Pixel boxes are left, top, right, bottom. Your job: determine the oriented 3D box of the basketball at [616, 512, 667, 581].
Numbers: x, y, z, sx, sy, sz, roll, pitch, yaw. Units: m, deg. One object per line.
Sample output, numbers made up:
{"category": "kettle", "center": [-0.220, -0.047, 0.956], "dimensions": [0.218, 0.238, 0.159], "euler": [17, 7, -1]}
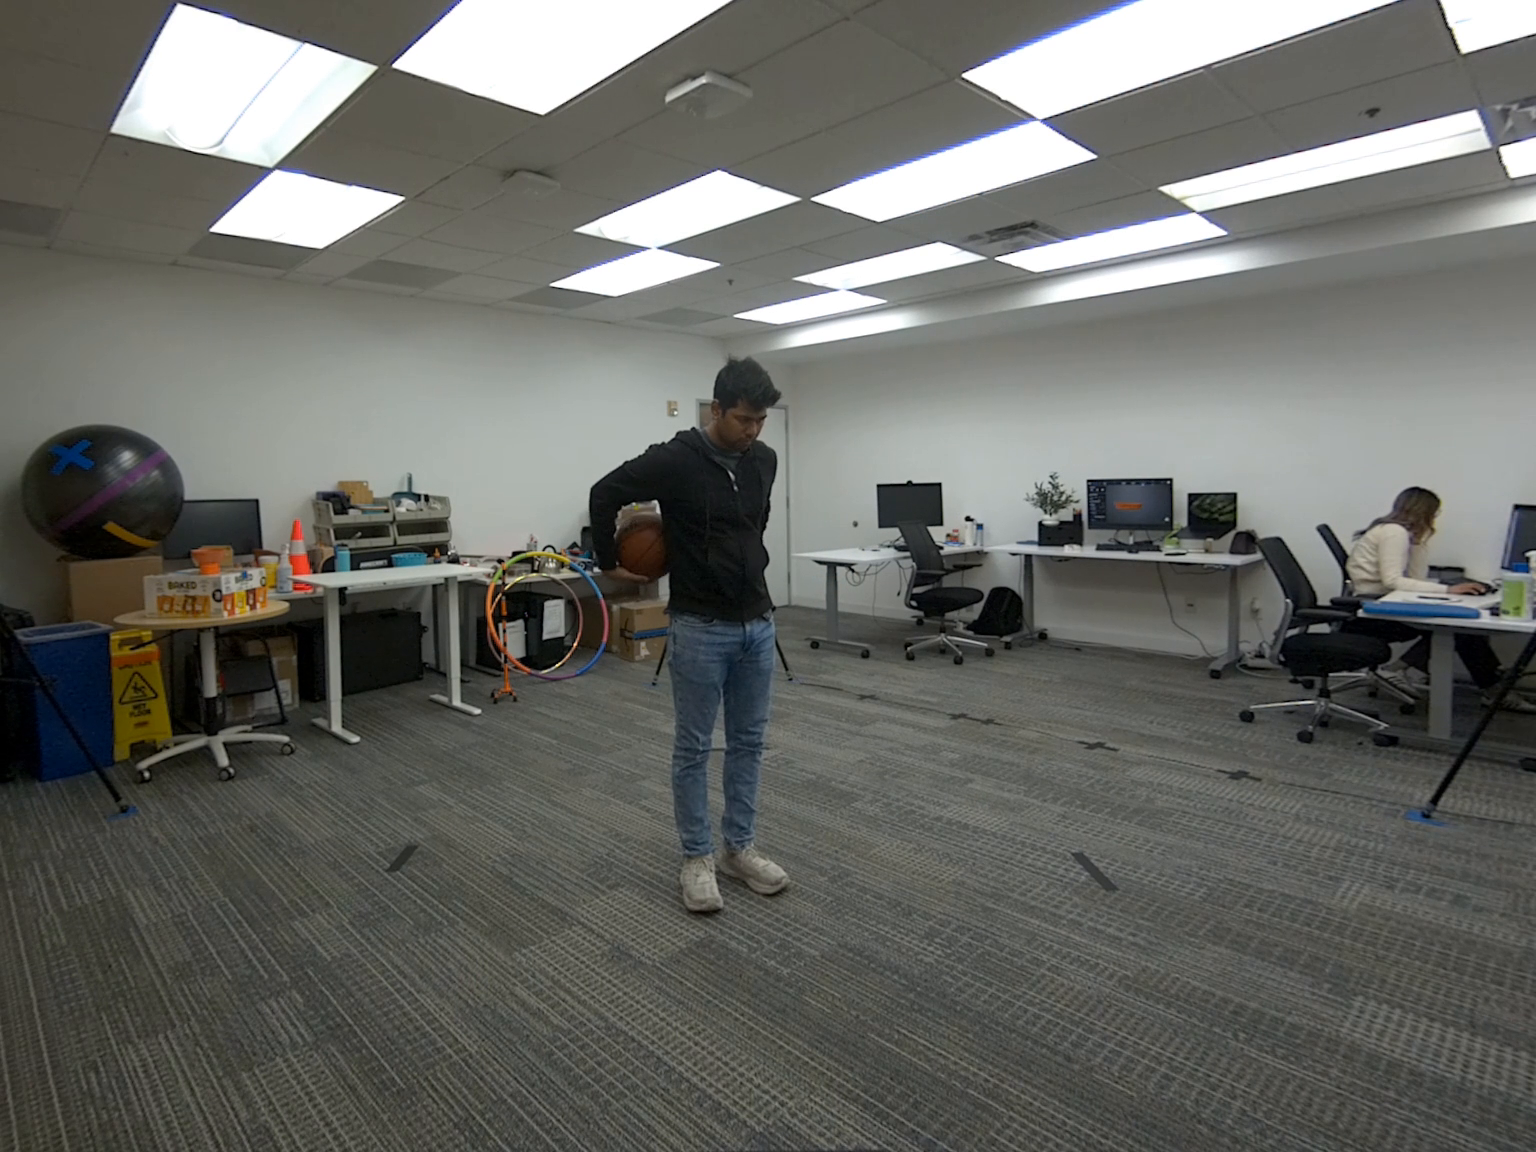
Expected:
{"category": "basketball", "center": [-0.403, -0.103, 2.968], "dimensions": [0.236, 0.235, 0.237], "euler": [-1, 5, -2]}
